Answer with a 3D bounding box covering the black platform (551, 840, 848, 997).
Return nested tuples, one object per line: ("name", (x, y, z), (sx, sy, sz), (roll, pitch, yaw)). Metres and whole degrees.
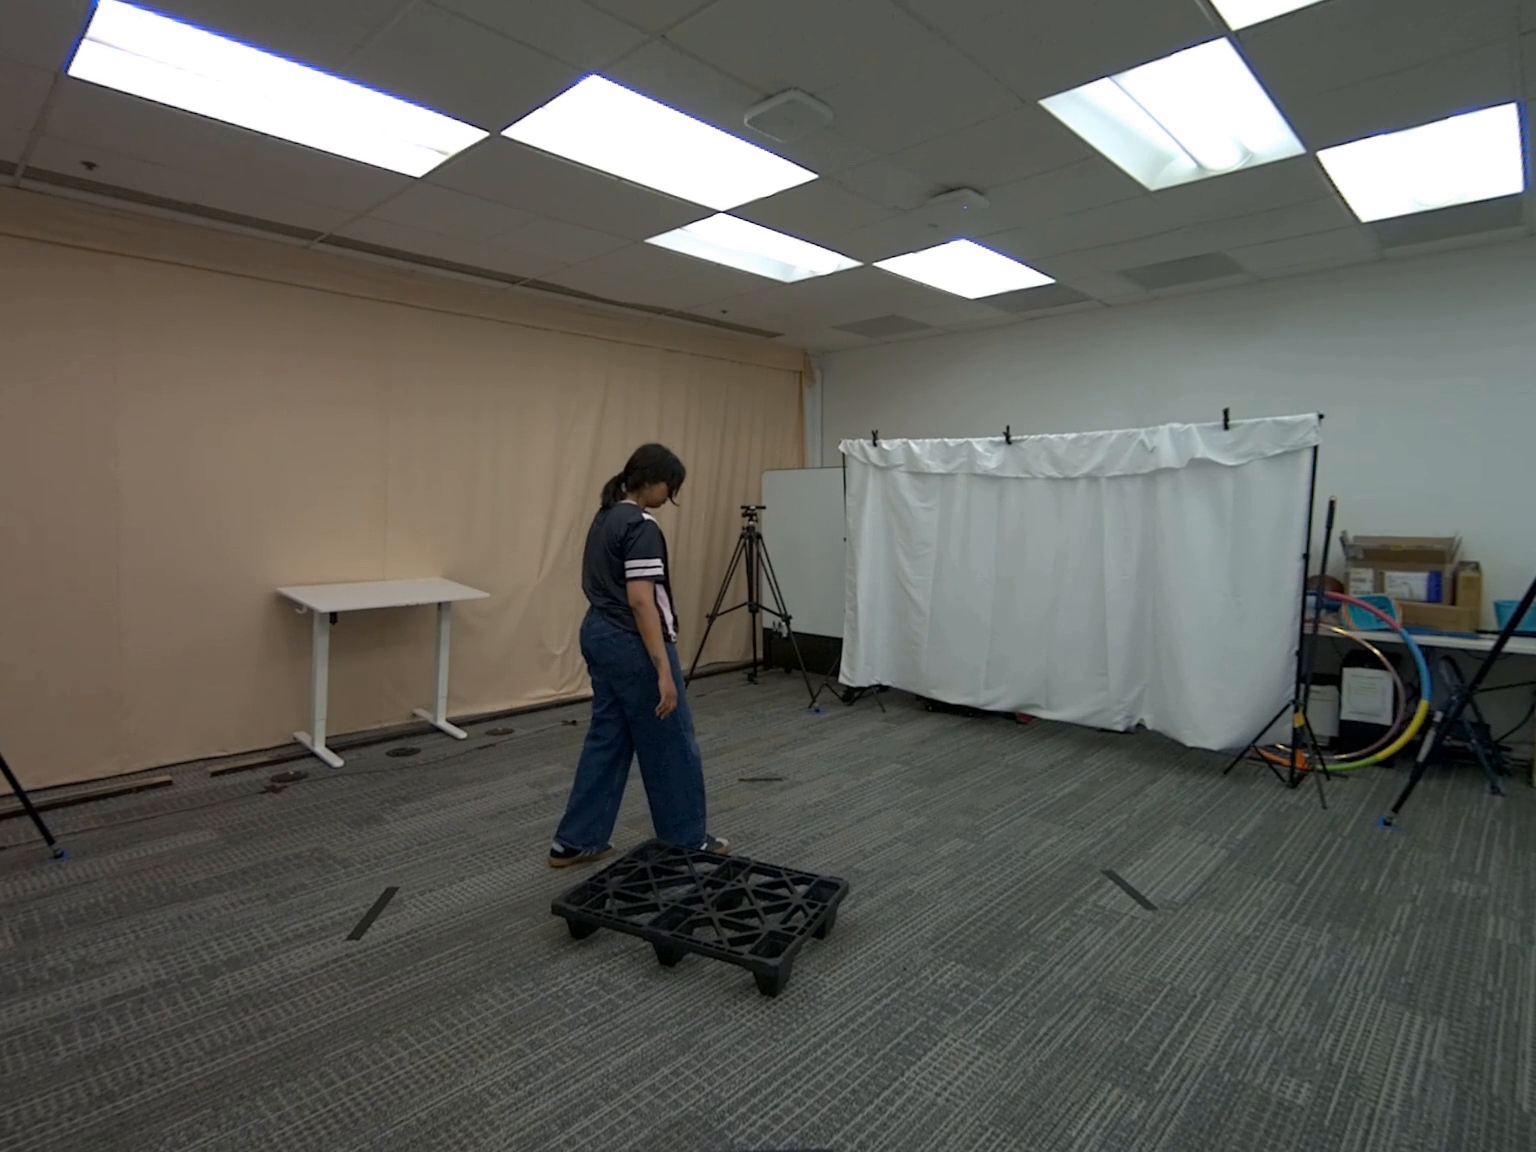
("black platform", (-0.203, 1.096, 2.748), (0.827, 0.143, 0.591), (2, 6, 27))
